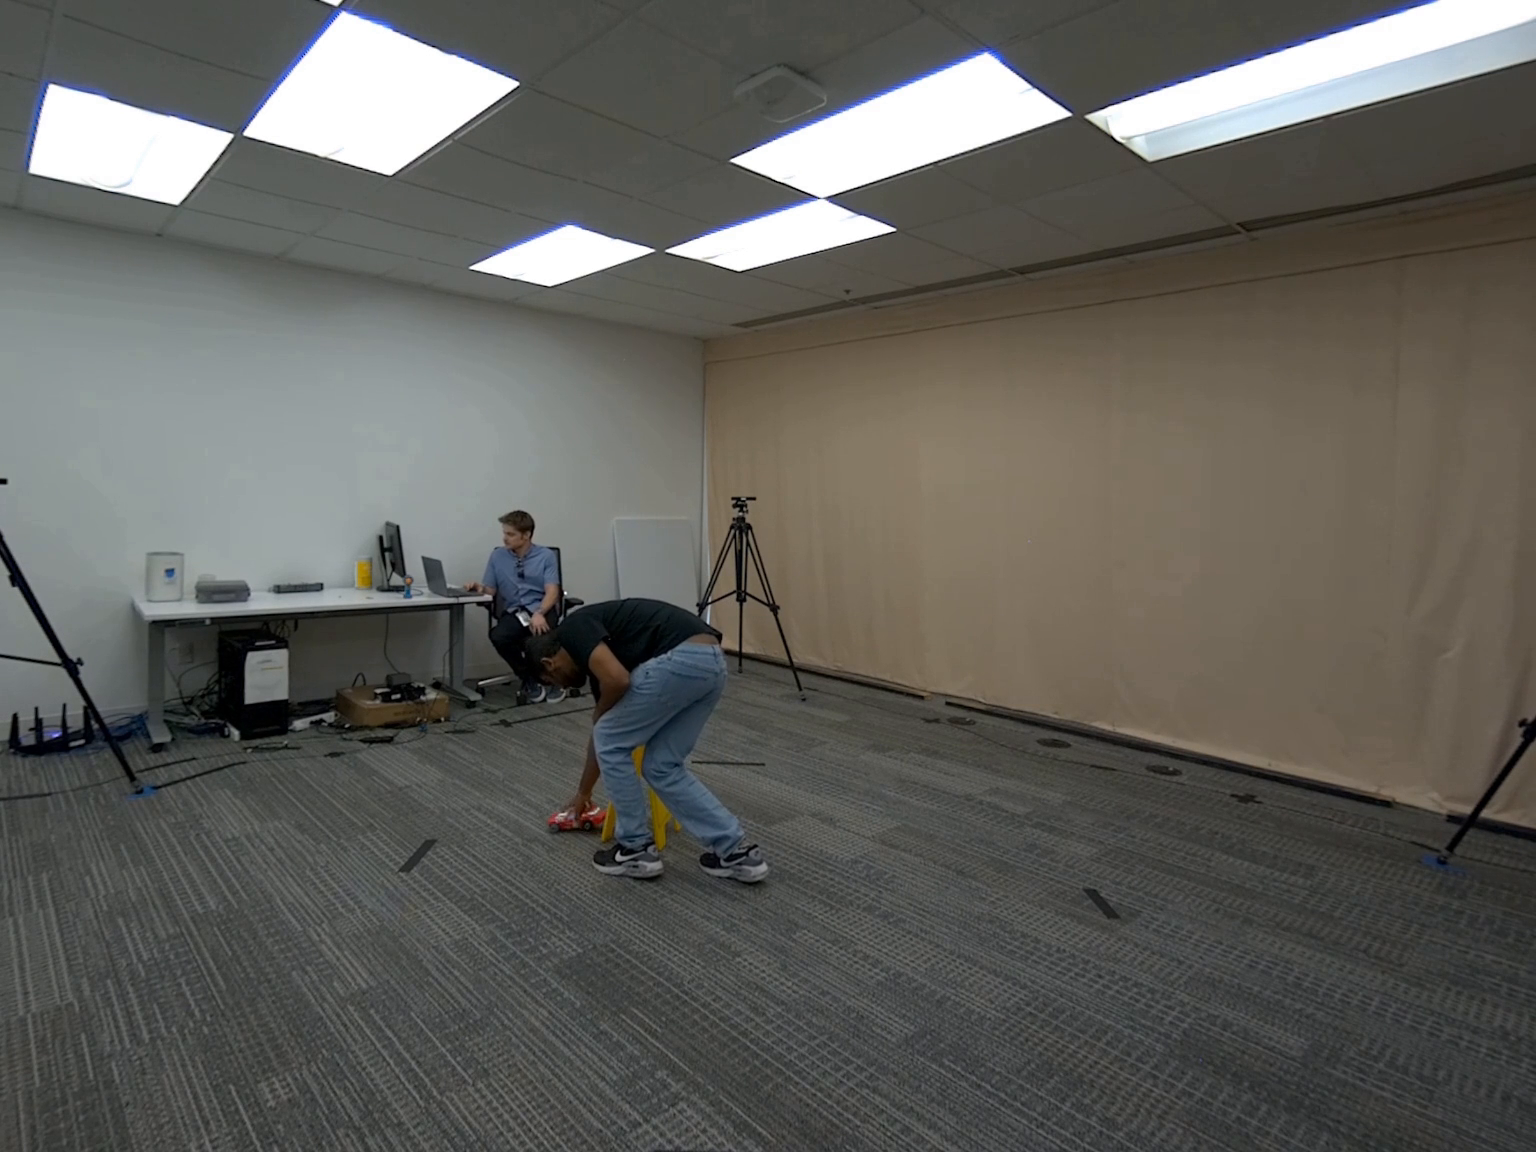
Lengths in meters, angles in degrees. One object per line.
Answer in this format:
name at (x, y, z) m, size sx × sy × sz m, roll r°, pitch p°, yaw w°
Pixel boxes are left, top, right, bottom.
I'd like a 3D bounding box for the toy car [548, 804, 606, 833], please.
toy car at (-0.783, 1.003, 3.507) m, size 0.255 × 0.083 × 0.130 m, roll -17°, pitch 6°, yaw 6°
